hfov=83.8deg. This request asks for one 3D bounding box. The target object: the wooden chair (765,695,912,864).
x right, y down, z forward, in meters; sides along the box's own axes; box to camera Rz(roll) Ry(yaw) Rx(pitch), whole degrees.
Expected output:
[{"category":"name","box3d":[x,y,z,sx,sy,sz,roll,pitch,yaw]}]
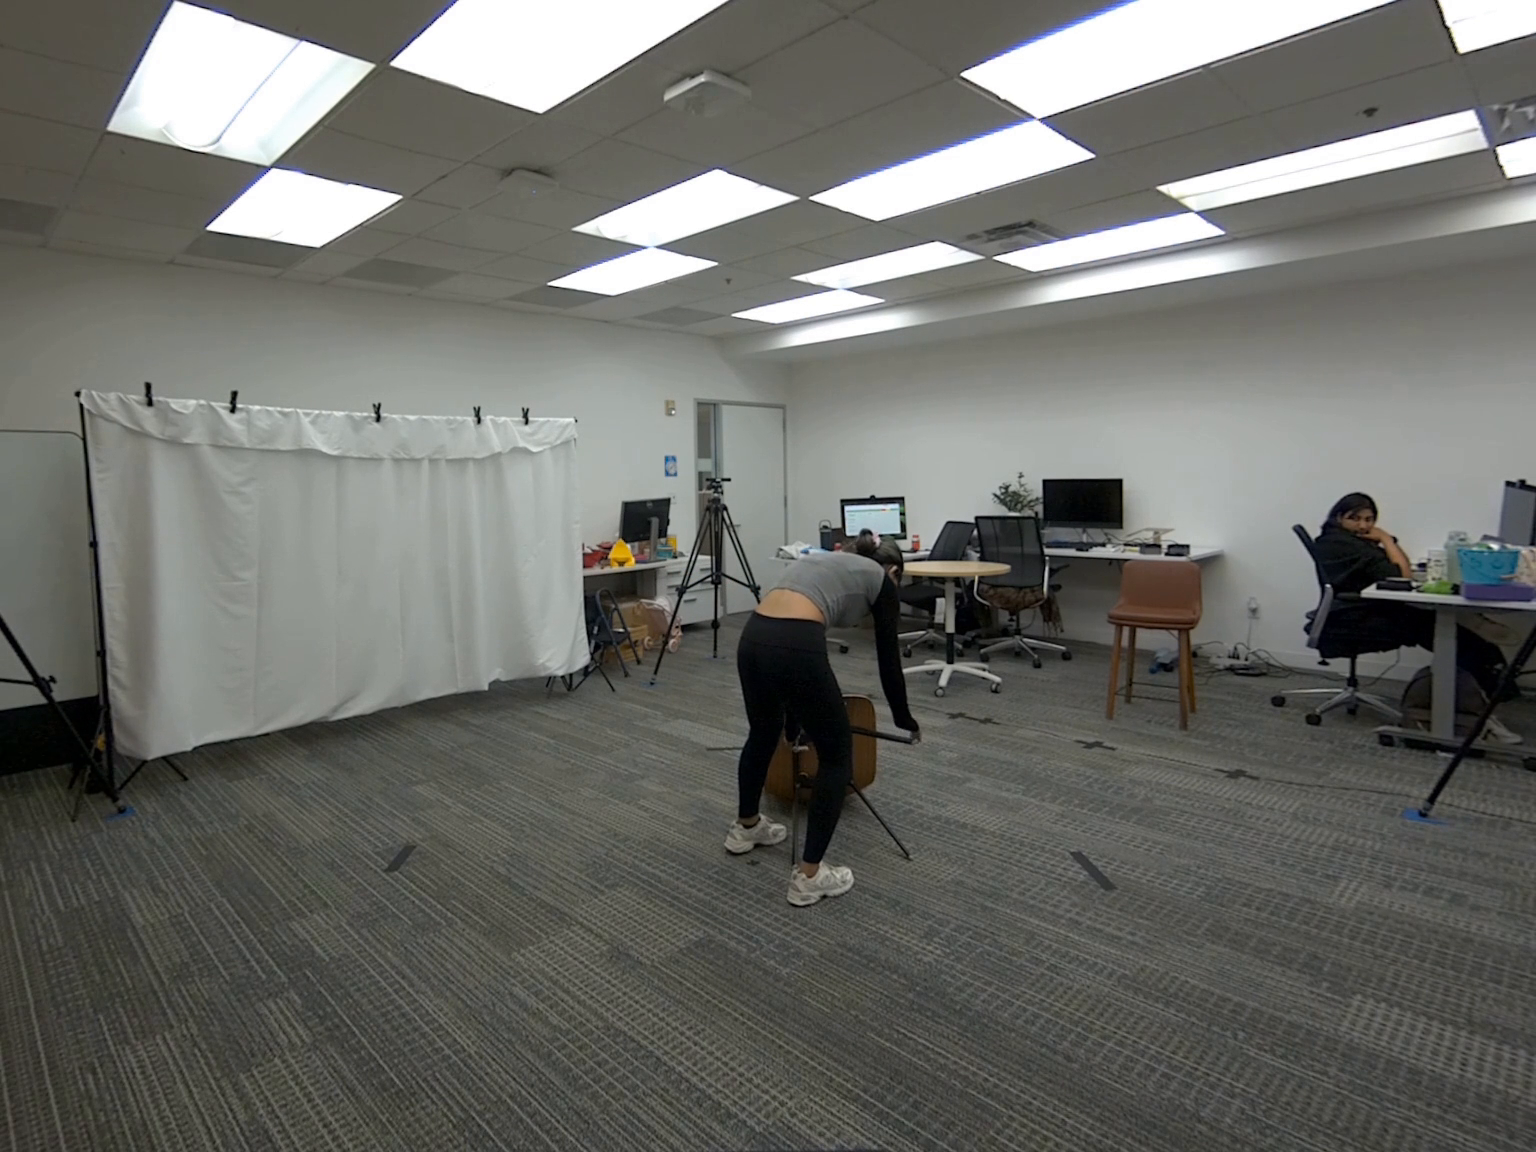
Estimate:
[{"category":"wooden chair","box3d":[0.230,0.735,3.466,0.474,0.521,0.888,-1,4,-10]}]
